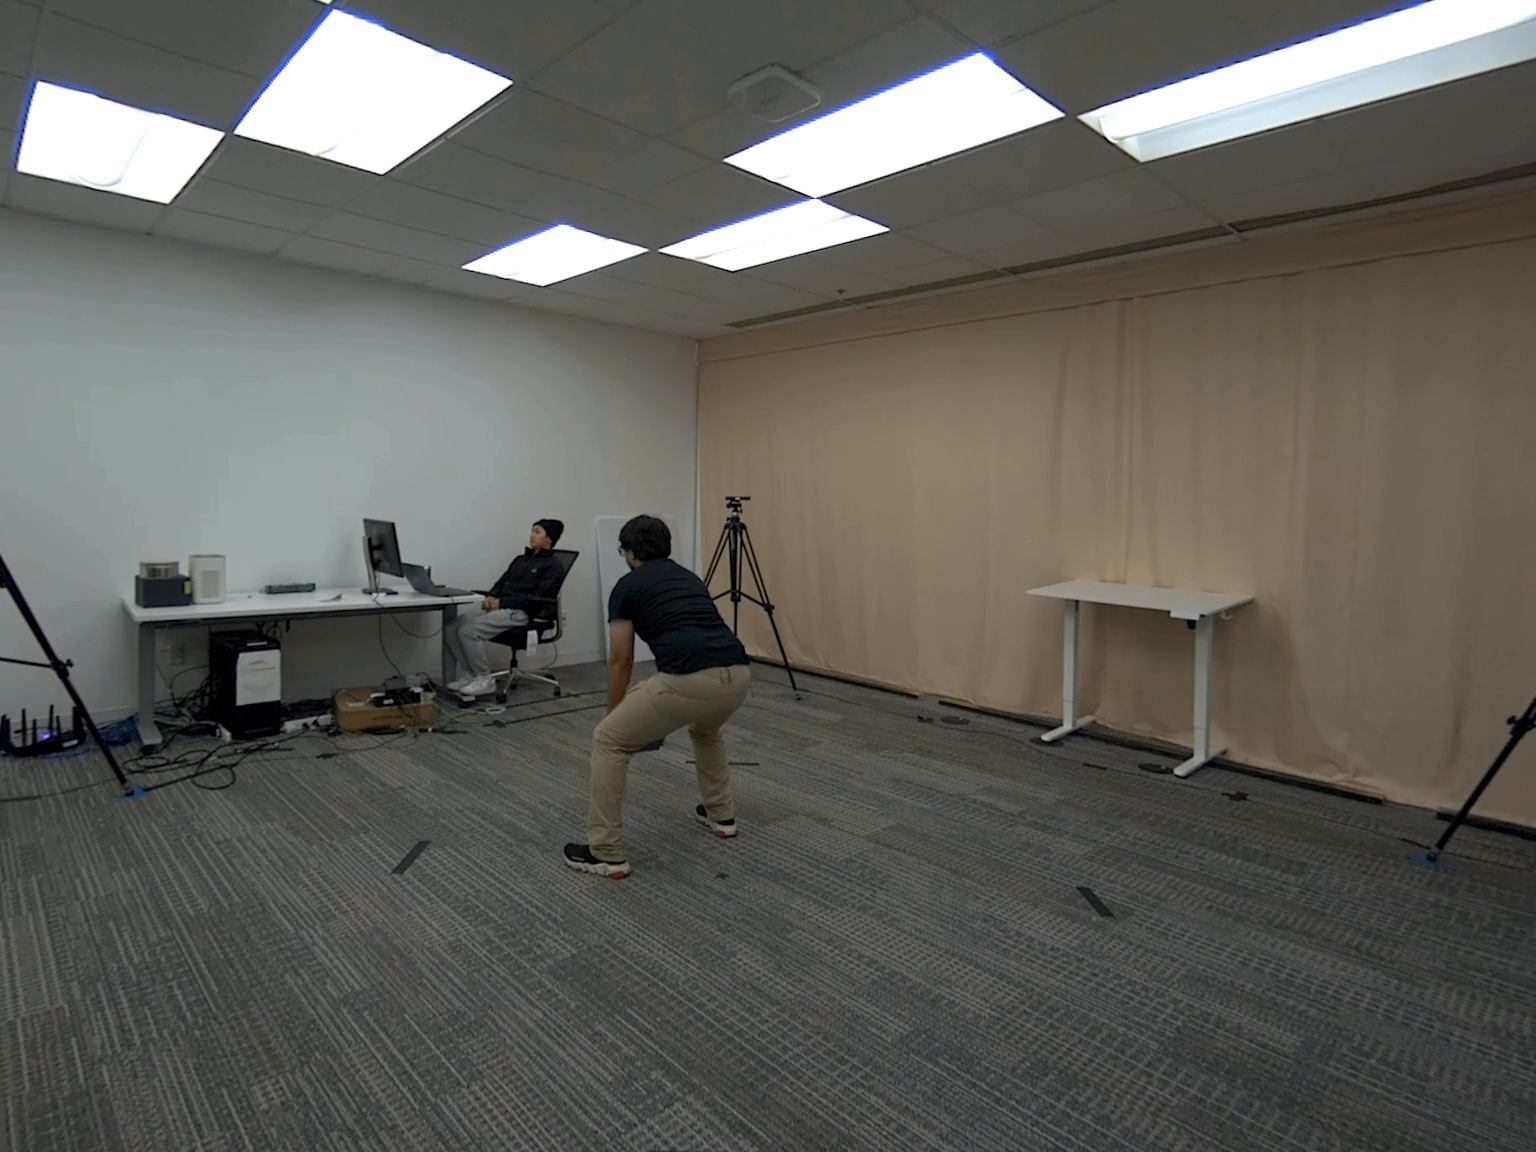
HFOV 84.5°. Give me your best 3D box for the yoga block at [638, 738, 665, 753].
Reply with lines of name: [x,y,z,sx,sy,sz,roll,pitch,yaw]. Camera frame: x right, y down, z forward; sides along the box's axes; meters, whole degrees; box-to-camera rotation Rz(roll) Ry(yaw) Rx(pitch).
yoga block: [-0.569,0.674,3.537,0.153,0.076,0.224,26,17,35]
